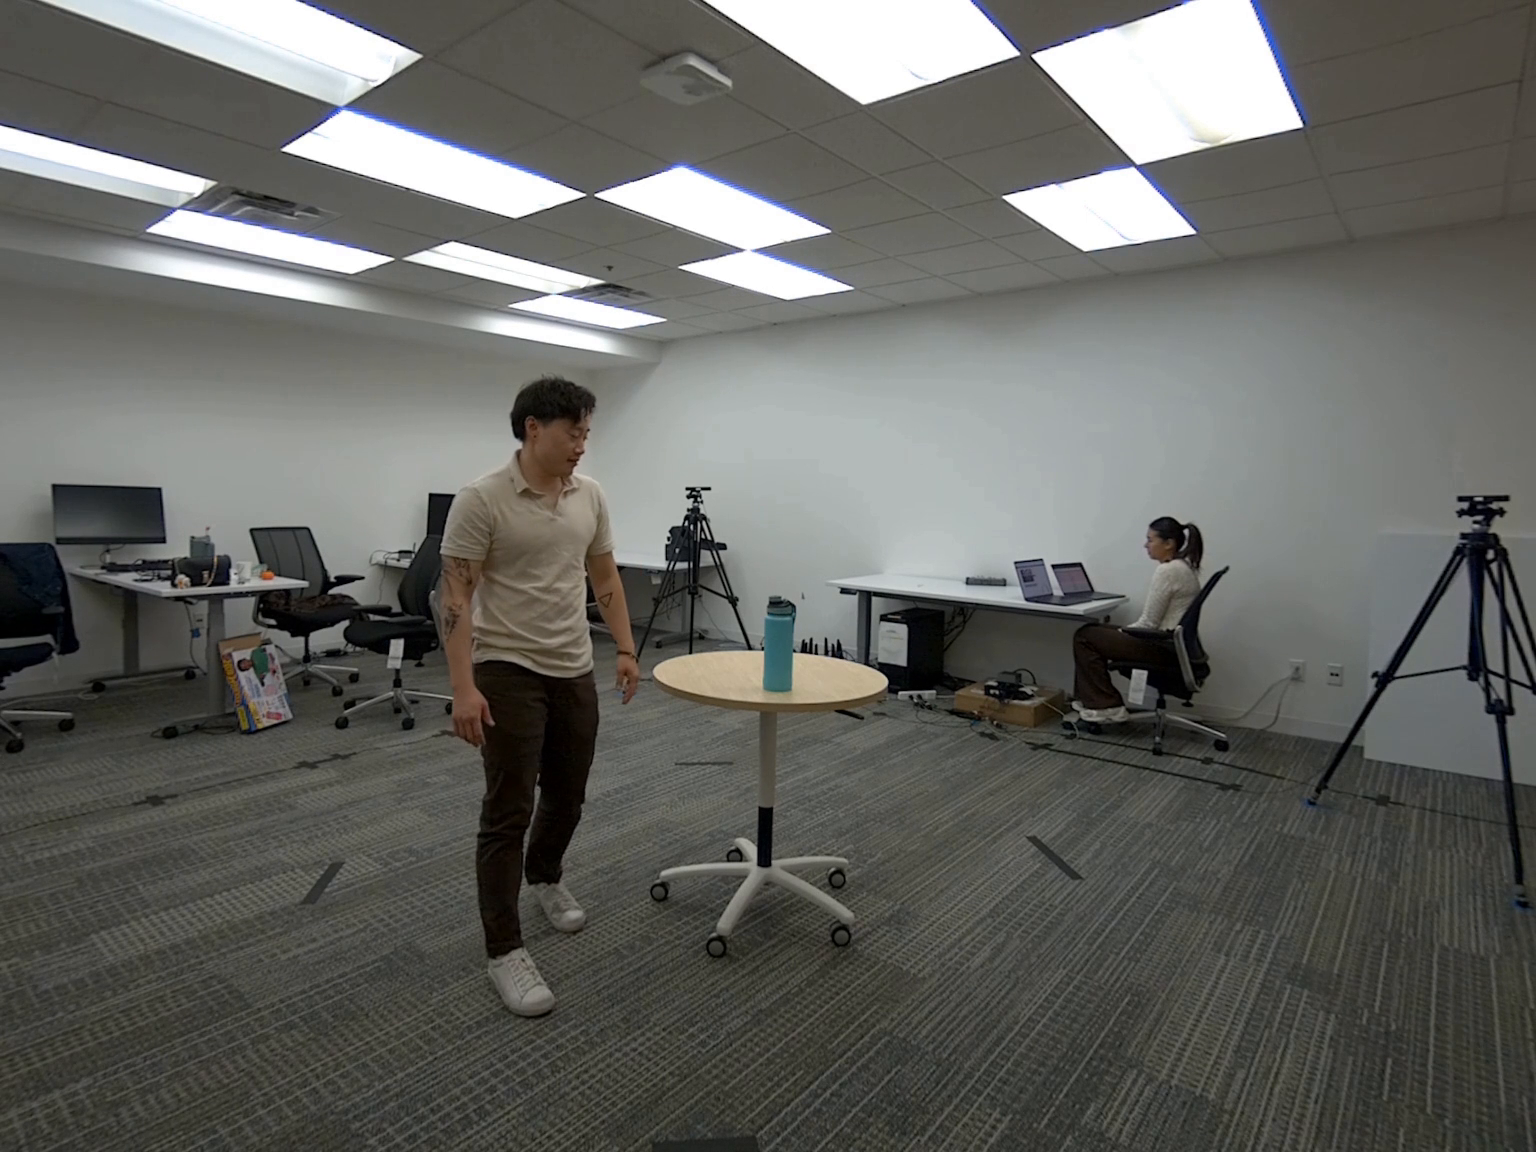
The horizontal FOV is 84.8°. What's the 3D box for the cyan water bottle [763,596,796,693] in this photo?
[{"bbox_3d":[0.027,0.204,2.575,0.092,0.283,0.092,3,2,-2],"label":"cyan water bottle"}]
